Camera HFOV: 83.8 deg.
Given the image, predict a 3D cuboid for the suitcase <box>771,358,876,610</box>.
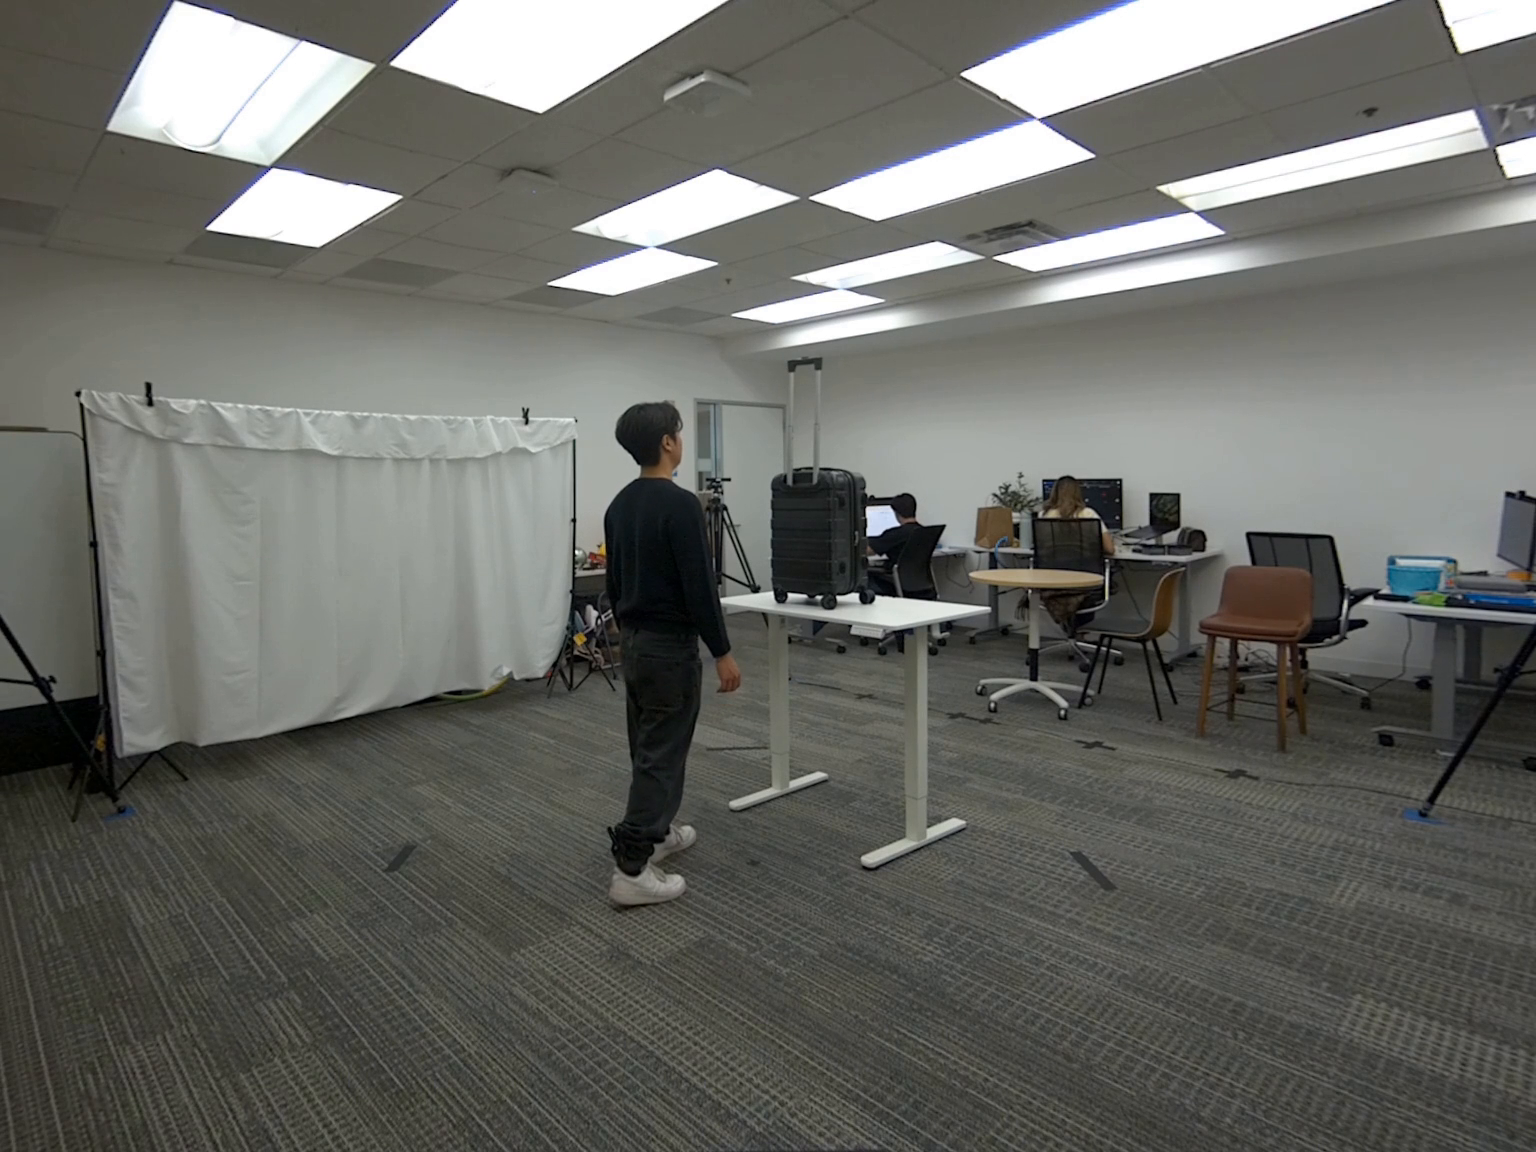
[{"bbox_3d":[0.210,-0.370,3.471,0.250,0.977,0.396,-2,3,-45],"label":"suitcase"}]
